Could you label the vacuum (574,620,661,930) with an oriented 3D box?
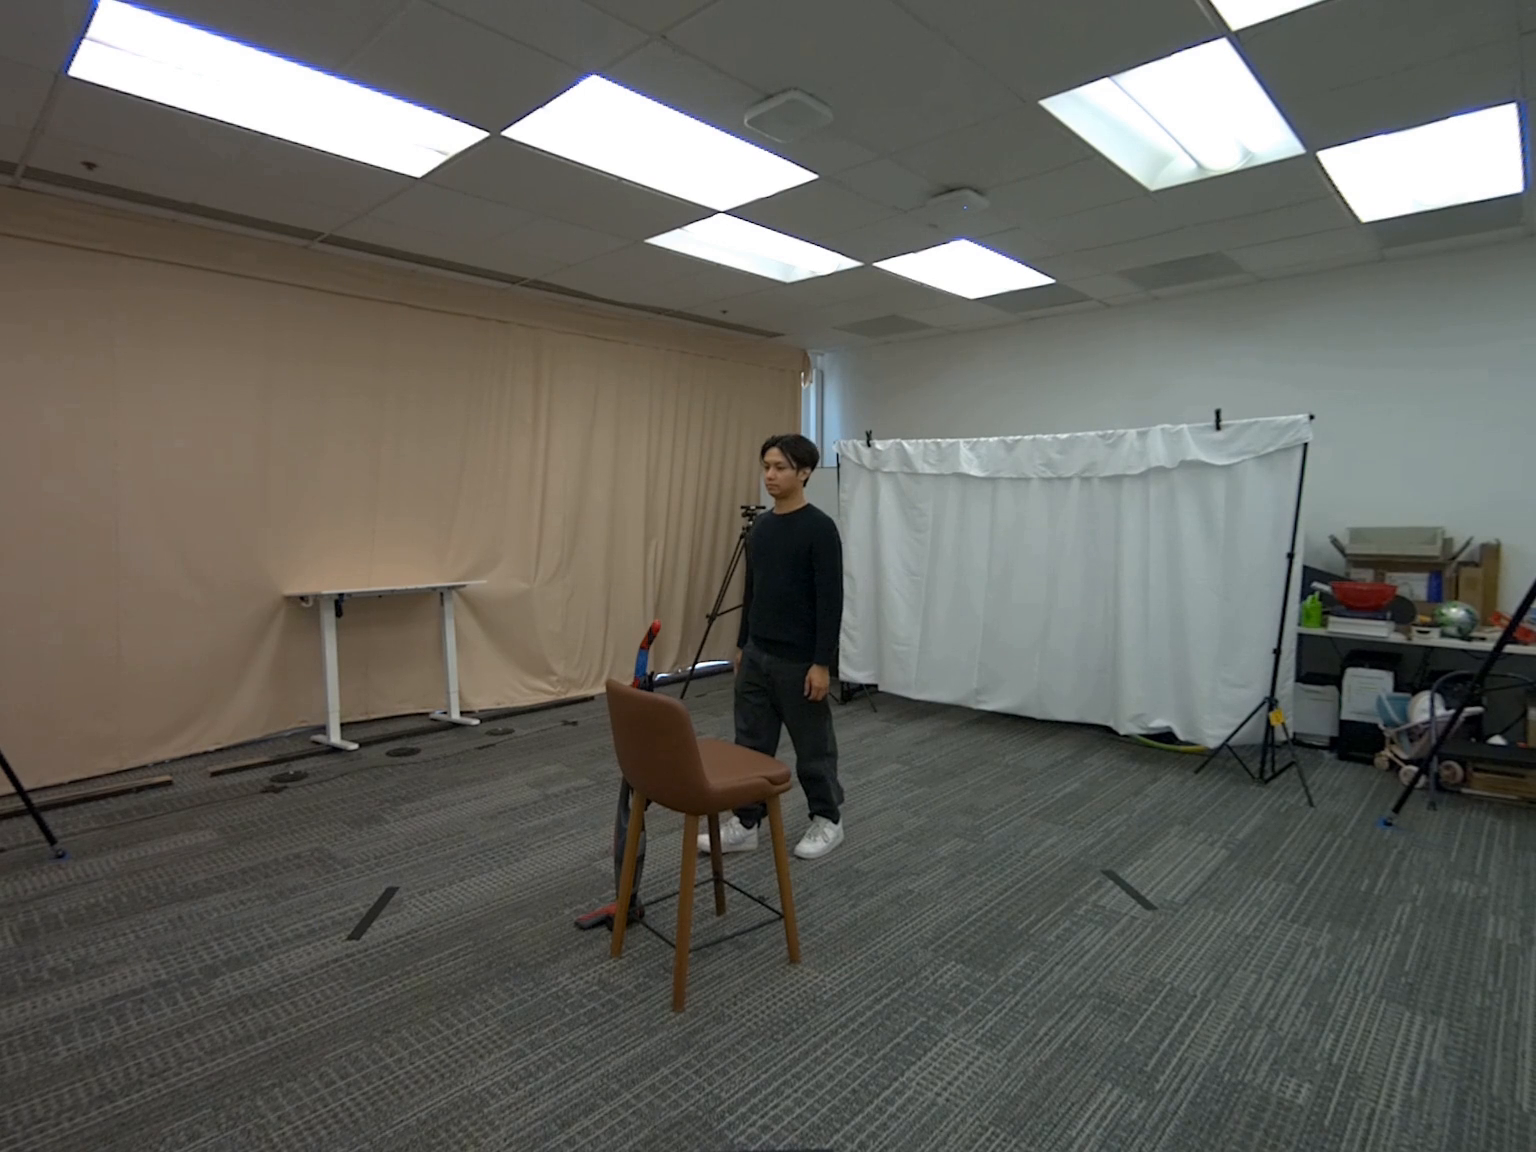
[{"bbox_3d":[-0.433,0.661,2.735,0.149,1.044,0.245,18,14,38],"label":"vacuum"}]
